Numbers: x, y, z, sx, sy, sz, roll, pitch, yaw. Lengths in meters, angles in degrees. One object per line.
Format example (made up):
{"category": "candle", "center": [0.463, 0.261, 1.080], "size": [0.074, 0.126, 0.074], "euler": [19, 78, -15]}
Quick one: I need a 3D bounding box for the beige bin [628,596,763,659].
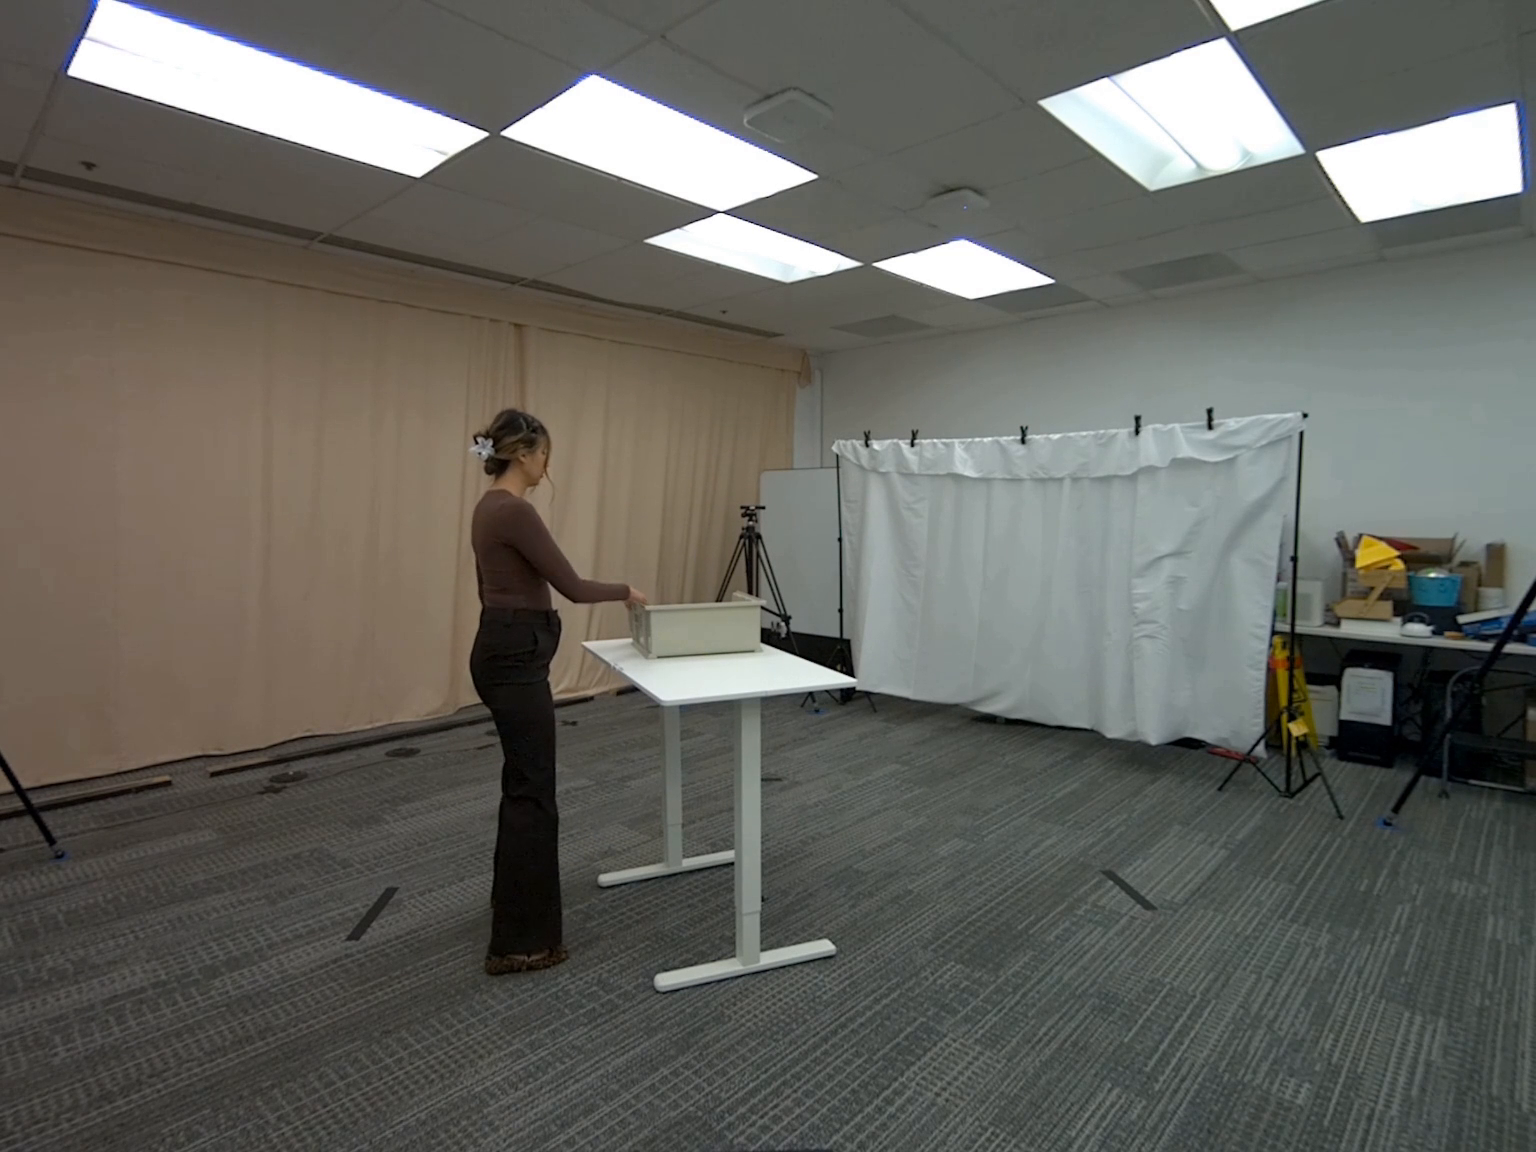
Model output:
{"category": "beige bin", "center": [-0.271, 0.169, 3.022], "size": [0.414, 0.188, 0.386], "euler": [-1, 6, -19]}
